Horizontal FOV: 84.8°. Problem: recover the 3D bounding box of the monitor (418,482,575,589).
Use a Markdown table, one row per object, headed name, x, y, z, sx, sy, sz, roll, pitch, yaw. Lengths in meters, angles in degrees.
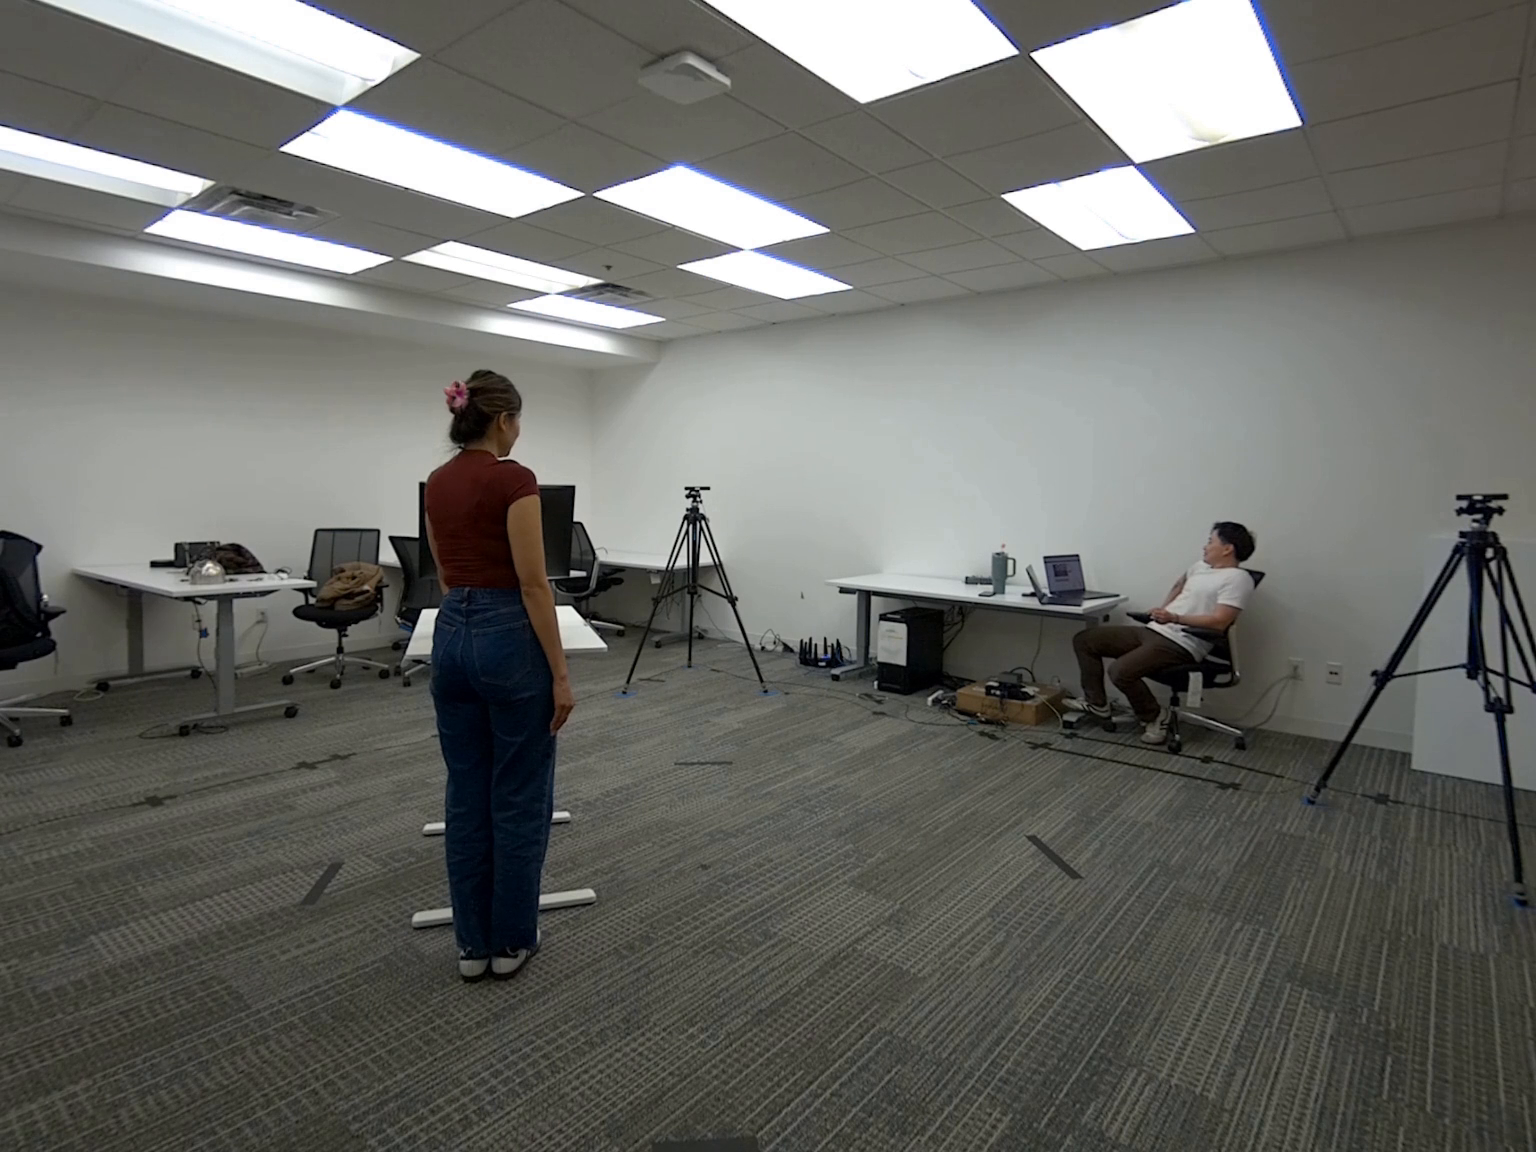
| name | x | y | z | sx | sy | sz | roll | pitch | yaw |
| --- | --- | --- | --- | --- | --- | --- | --- | --- | --- |
| monitor | -0.965 | -0.071 | 3.002 | 0.527 | 0.520 | 0.192 | 0 | 5 | -23 |
